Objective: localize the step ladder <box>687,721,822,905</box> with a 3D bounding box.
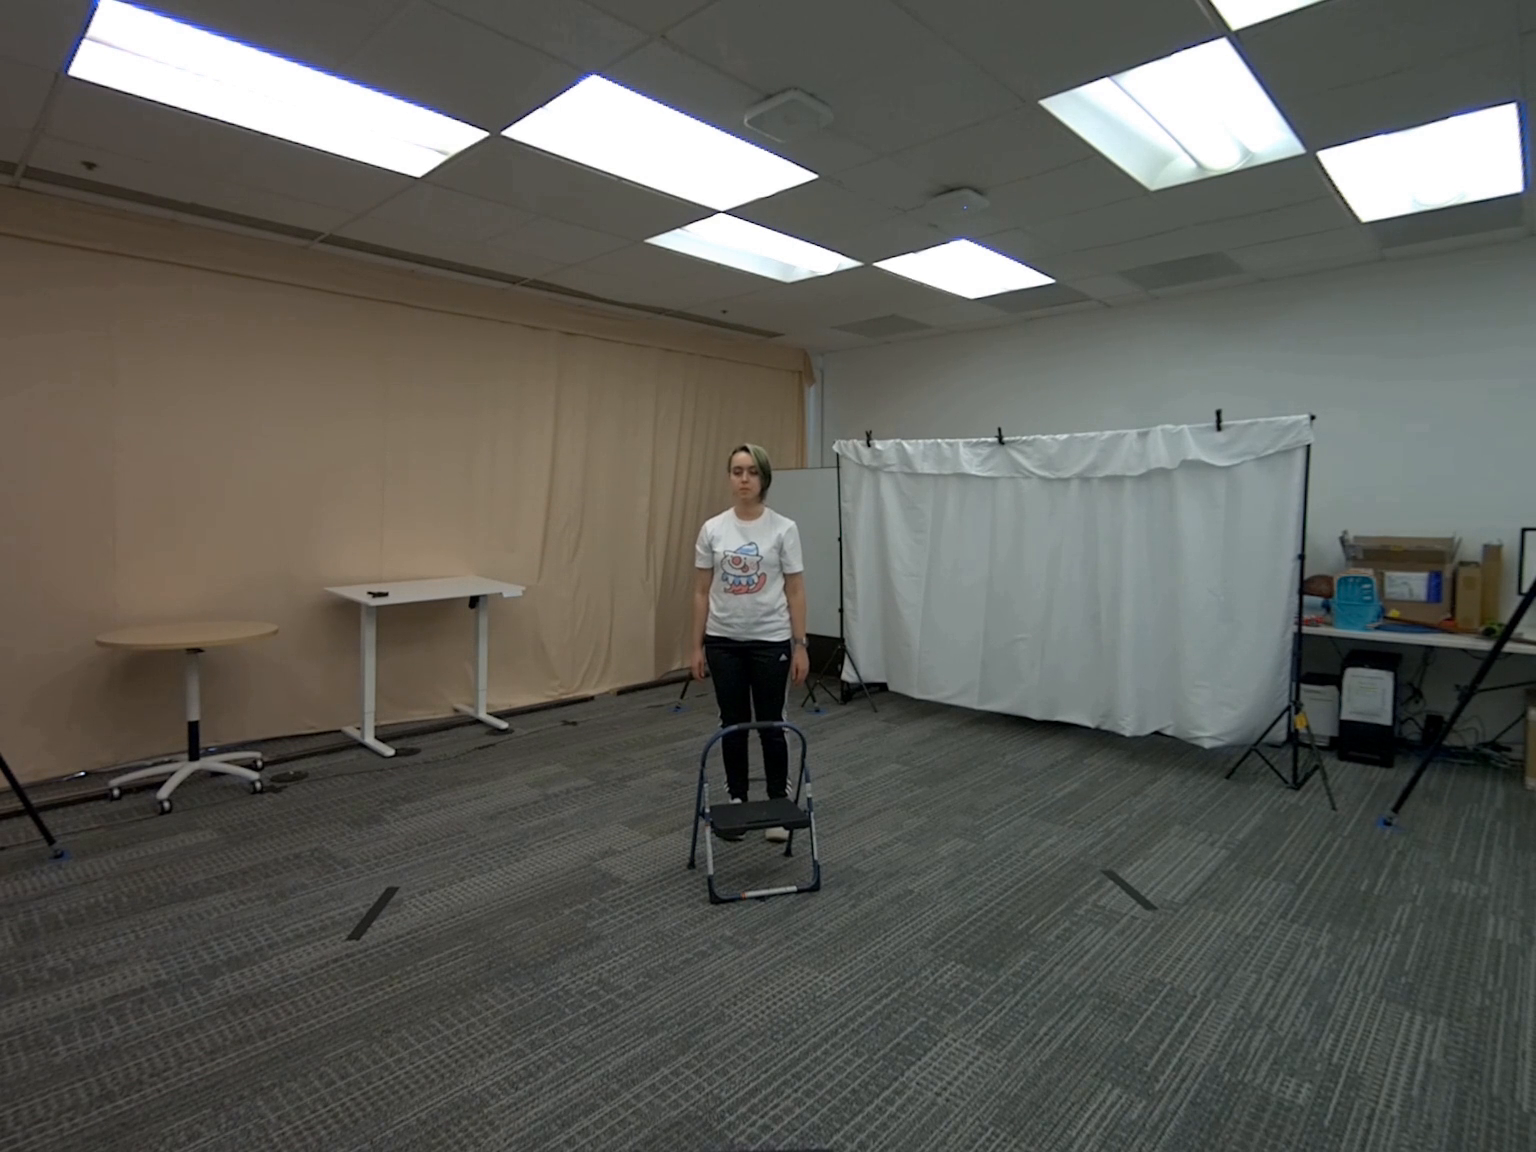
[{"bbox_3d":[-0.058,0.829,3.136,0.423,0.605,0.356,-2,4,-18],"label":"step ladder"}]
